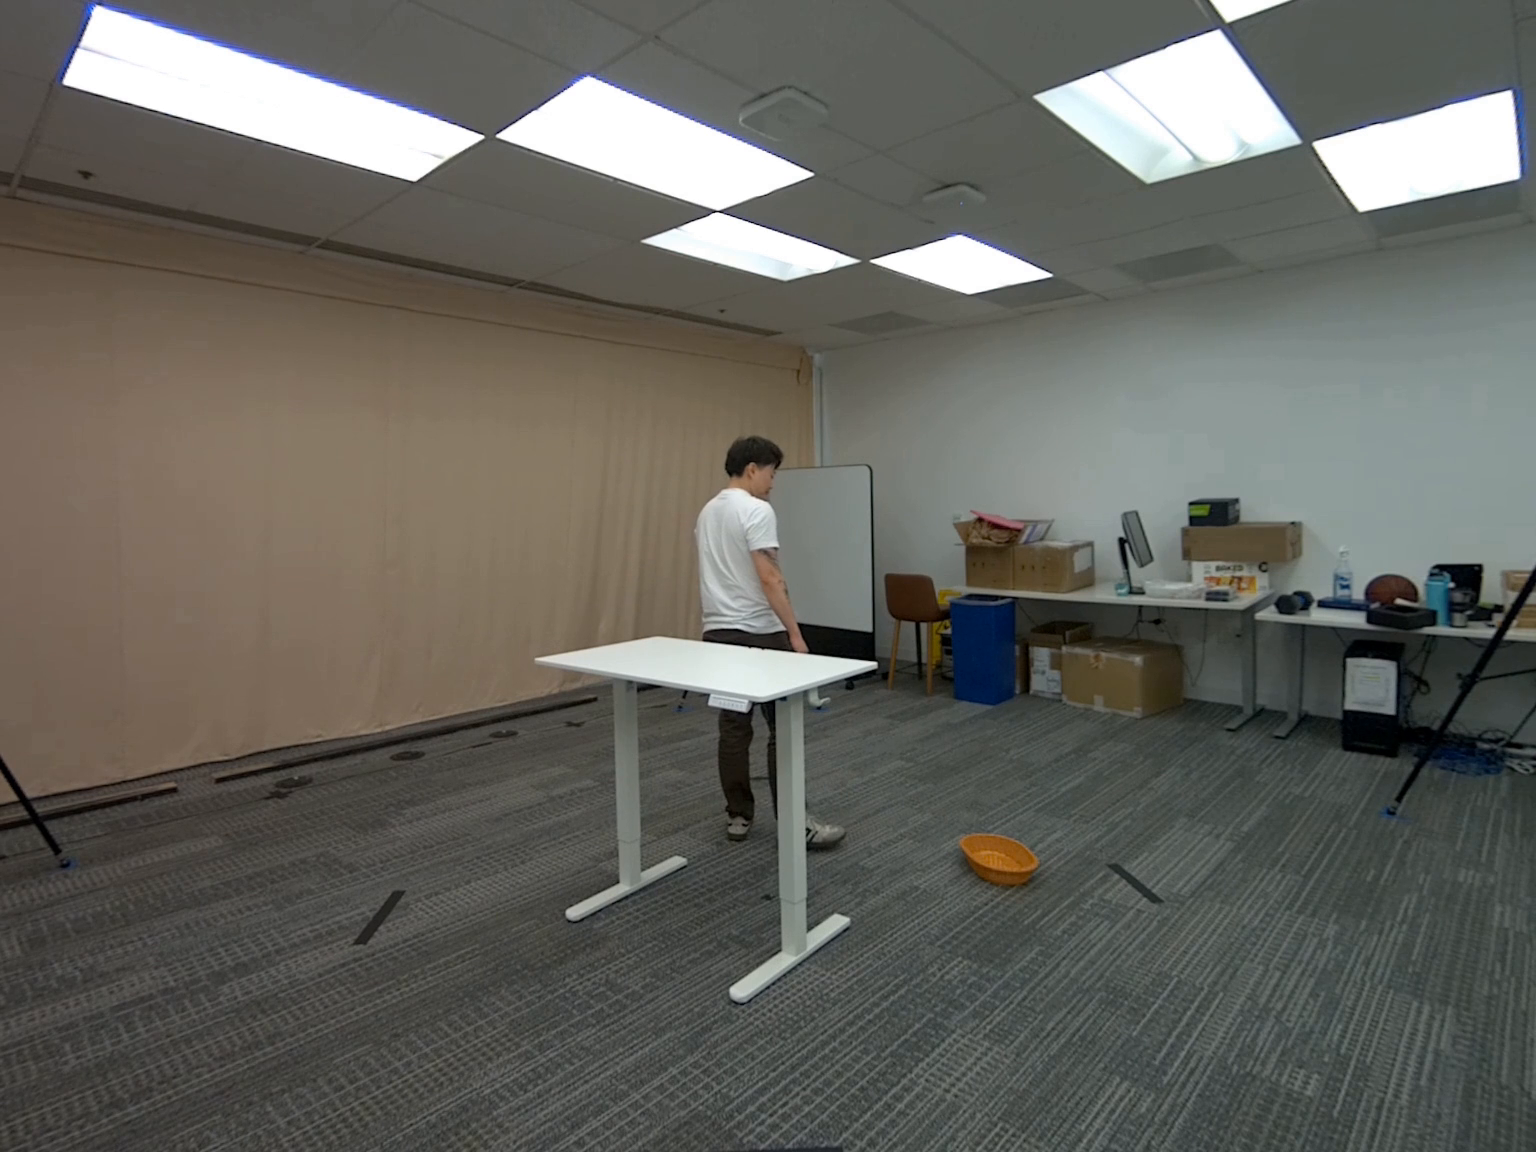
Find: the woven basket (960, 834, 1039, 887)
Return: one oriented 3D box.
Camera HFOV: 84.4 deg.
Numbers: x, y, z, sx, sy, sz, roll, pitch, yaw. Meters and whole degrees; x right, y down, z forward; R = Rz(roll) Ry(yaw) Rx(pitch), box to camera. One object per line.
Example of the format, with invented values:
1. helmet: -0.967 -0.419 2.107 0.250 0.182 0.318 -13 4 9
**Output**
1. woven basket: 0.871 1.071 3.177 0.252 0.073 0.351 0 4 -1
